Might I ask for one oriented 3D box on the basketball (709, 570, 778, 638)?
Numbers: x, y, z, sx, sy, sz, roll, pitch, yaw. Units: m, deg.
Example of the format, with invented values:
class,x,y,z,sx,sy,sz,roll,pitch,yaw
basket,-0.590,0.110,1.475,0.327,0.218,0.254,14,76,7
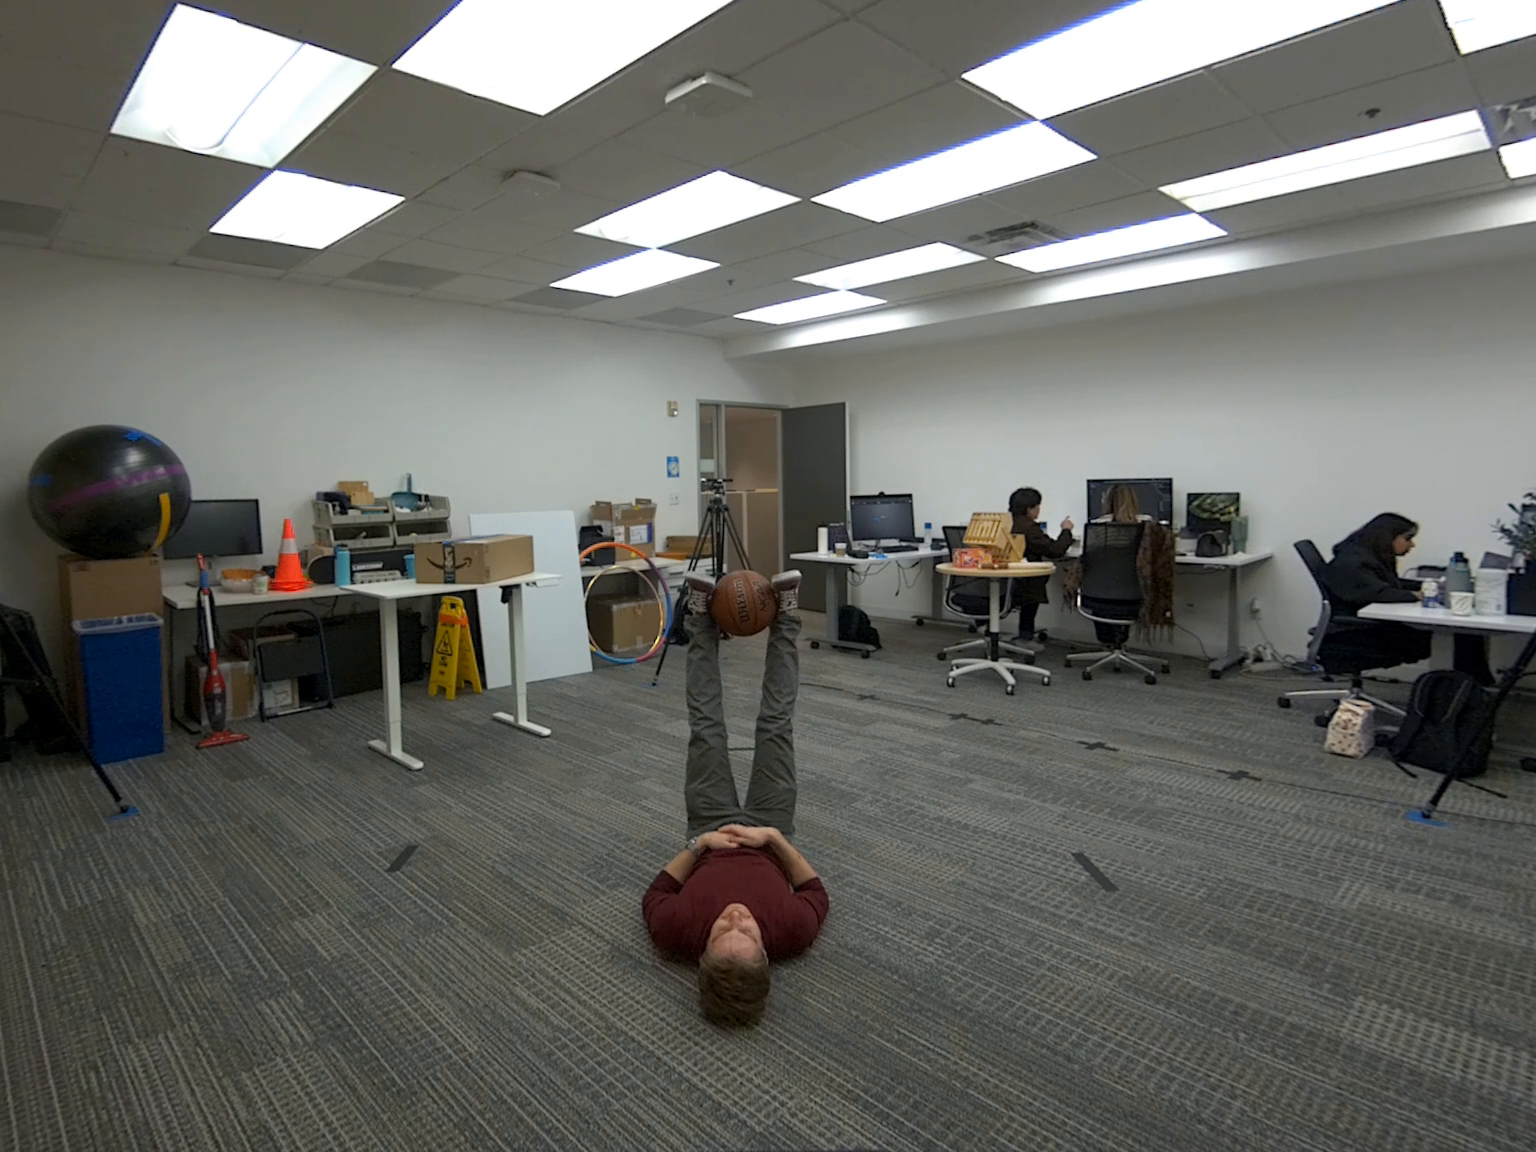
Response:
class,x,y,z,sx,sy,sz,roll,pitch,yaw
basketball,-0.084,0.105,3.092,0.236,0.236,0.236,0,1,-2
